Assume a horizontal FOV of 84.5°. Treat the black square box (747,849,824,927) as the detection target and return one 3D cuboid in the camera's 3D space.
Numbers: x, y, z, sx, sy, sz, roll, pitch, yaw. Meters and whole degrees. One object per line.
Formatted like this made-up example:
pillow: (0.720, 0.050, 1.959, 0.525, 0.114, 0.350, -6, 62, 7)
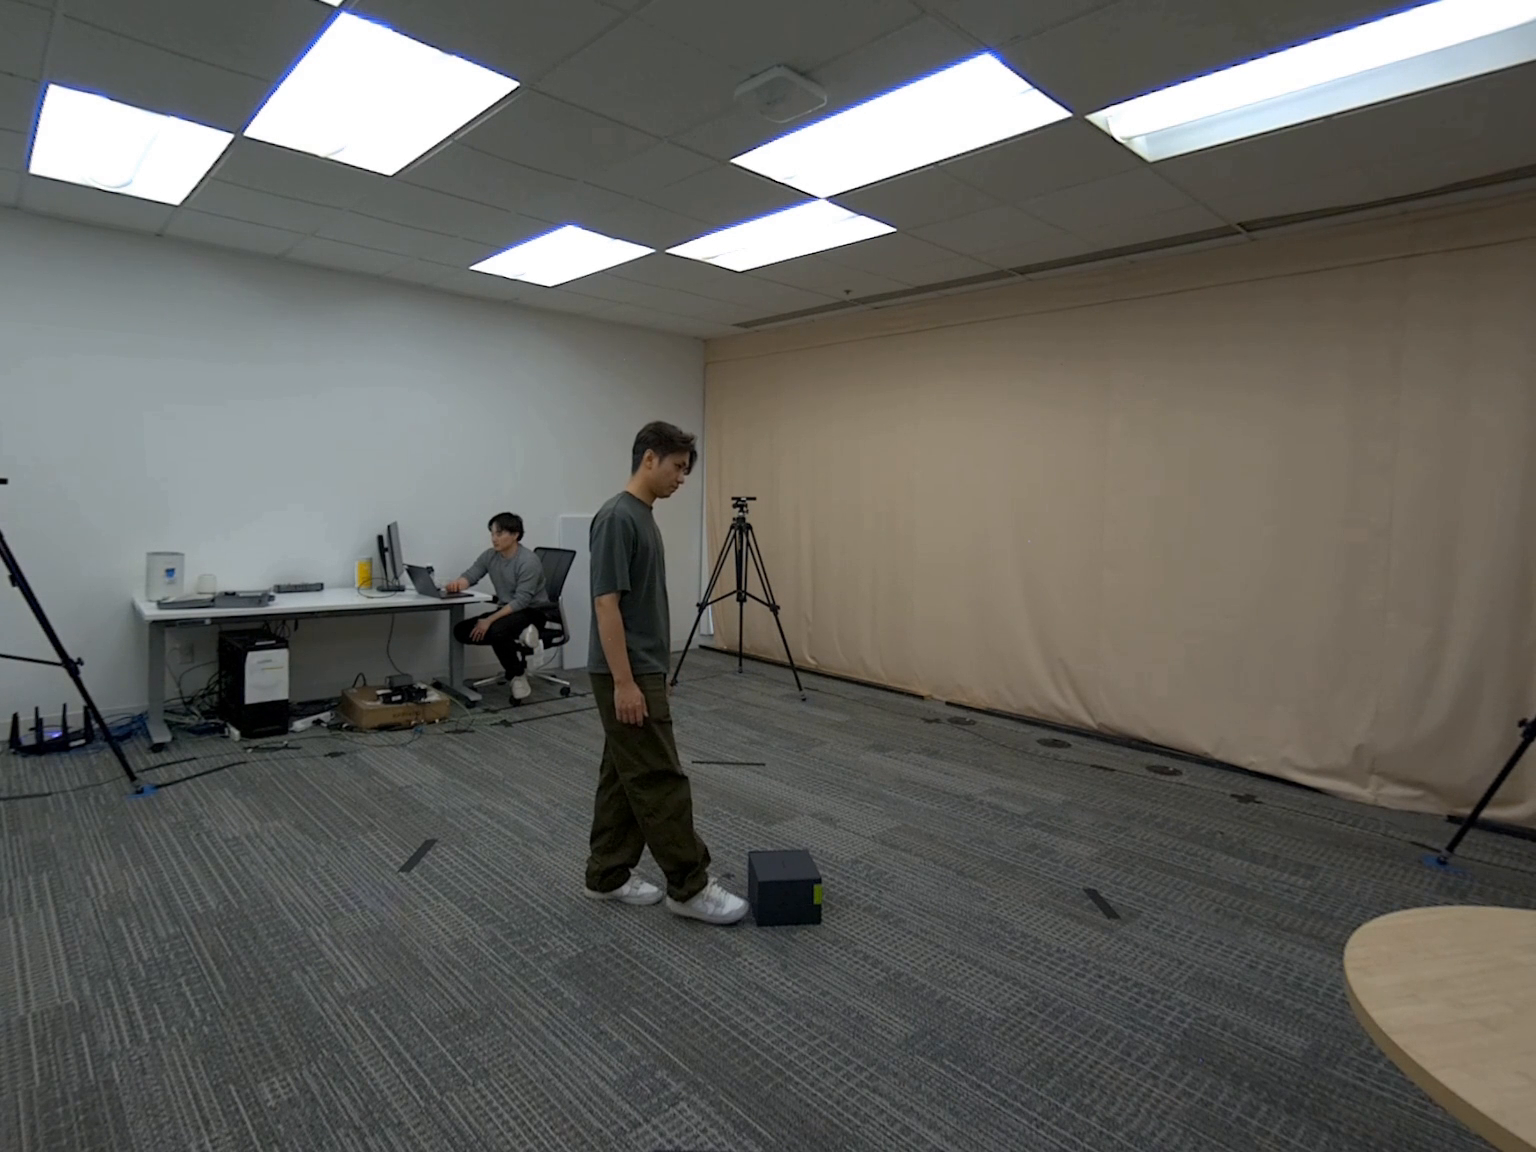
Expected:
black square box: (0.048, 1.046, 2.849, 0.215, 0.155, 0.230, 1, 5, -9)
